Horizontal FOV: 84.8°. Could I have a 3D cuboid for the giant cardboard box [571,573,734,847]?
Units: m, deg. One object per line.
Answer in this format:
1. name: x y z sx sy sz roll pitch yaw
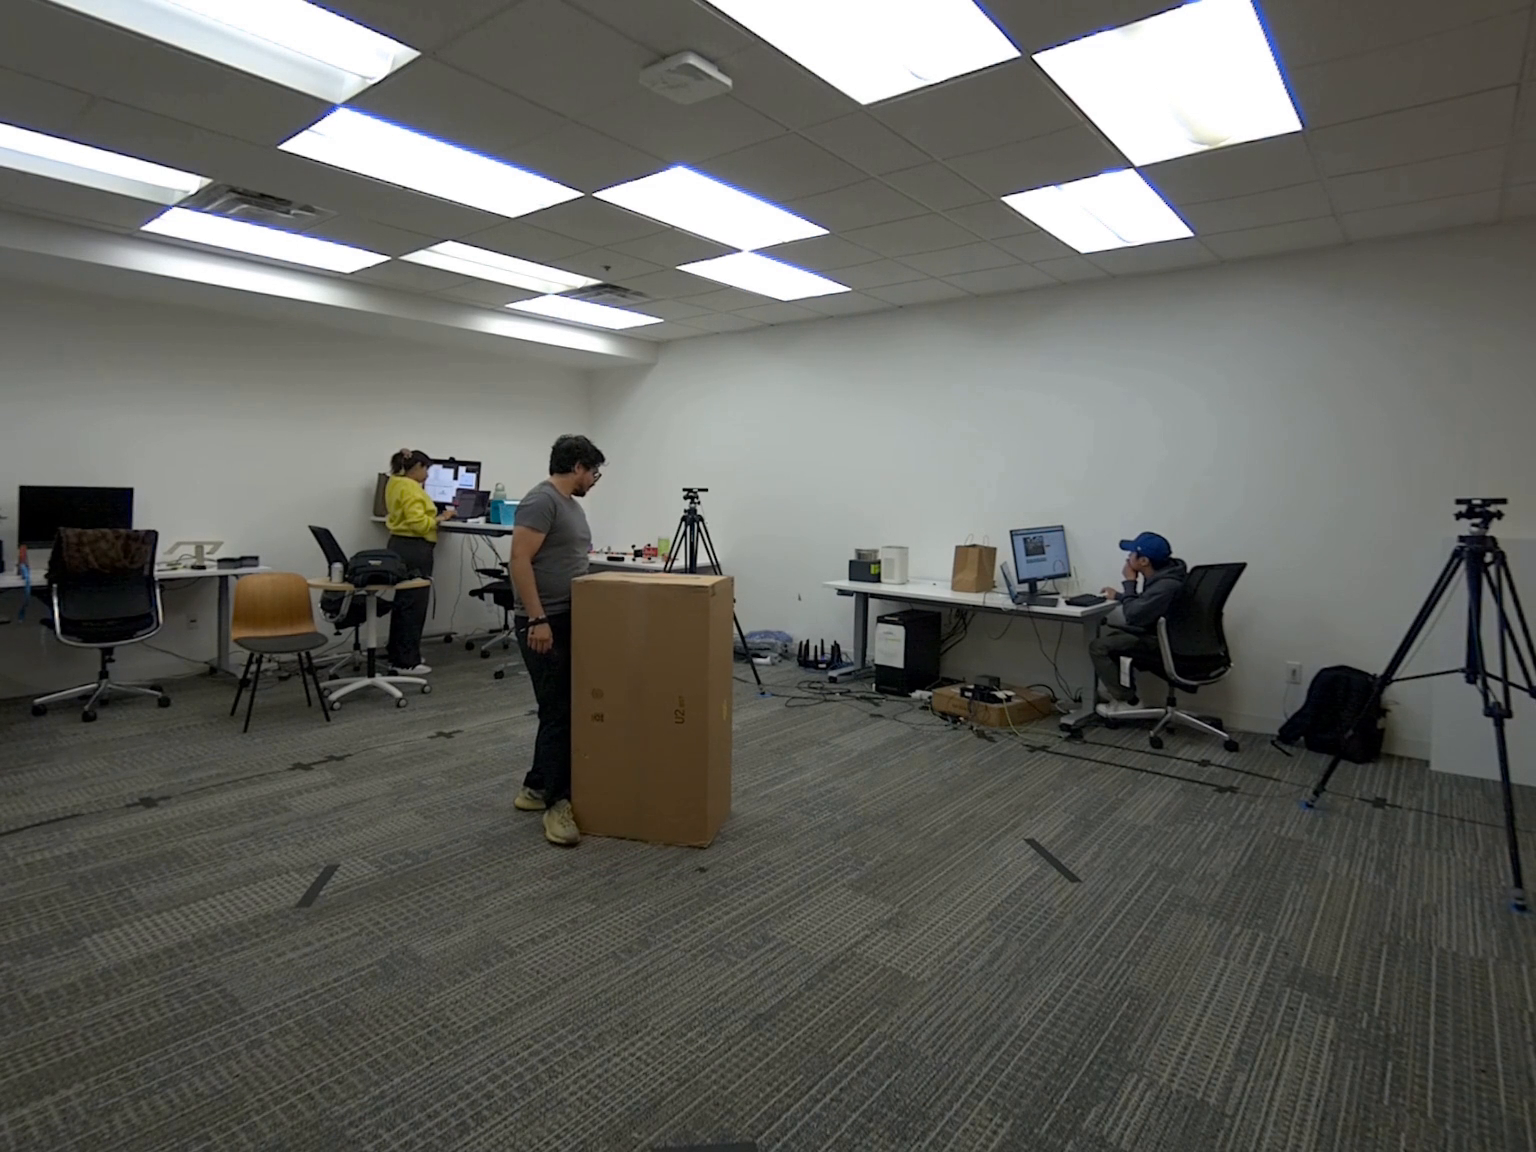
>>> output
1. giant cardboard box: -0.474 0.518 3.536 0.593 1.024 0.442 1 3 13
